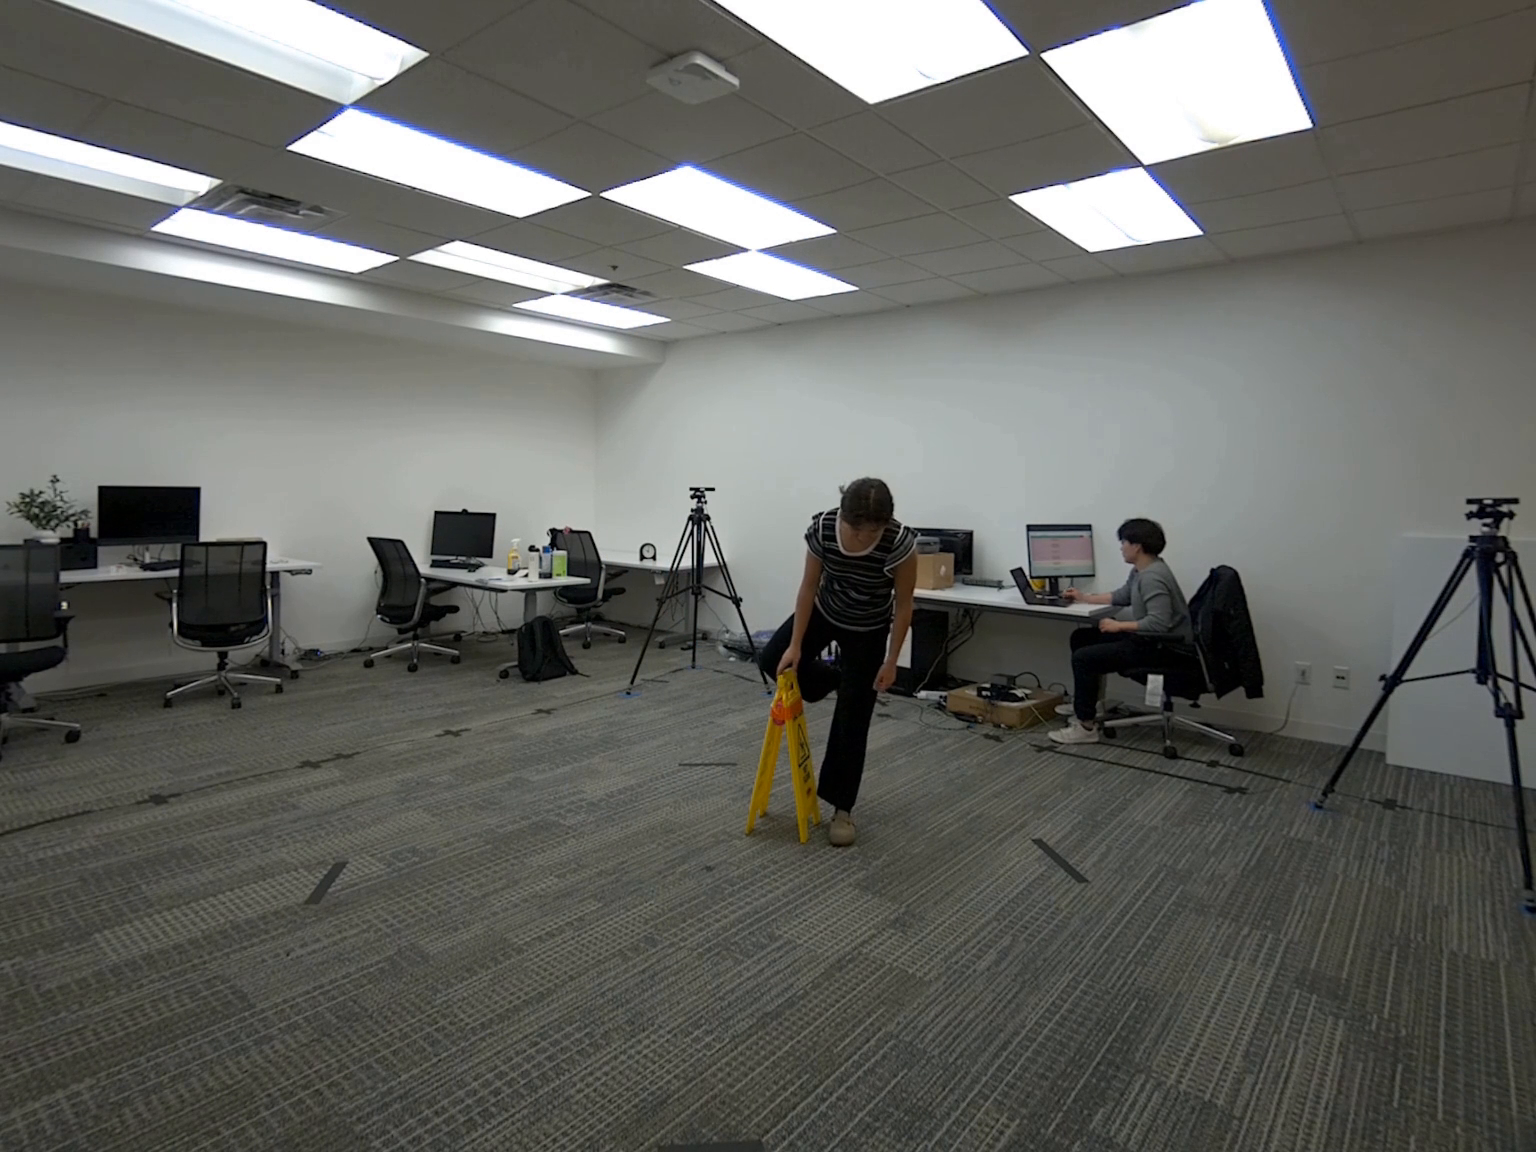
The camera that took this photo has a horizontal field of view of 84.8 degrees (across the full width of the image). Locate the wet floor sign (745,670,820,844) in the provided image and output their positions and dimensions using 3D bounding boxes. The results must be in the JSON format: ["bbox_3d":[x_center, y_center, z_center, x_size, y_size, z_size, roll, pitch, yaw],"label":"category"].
[{"bbox_3d":[0.069,0.714,3.496,0.295,0.643,0.278,3,5,17],"label":"wet floor sign"}]
